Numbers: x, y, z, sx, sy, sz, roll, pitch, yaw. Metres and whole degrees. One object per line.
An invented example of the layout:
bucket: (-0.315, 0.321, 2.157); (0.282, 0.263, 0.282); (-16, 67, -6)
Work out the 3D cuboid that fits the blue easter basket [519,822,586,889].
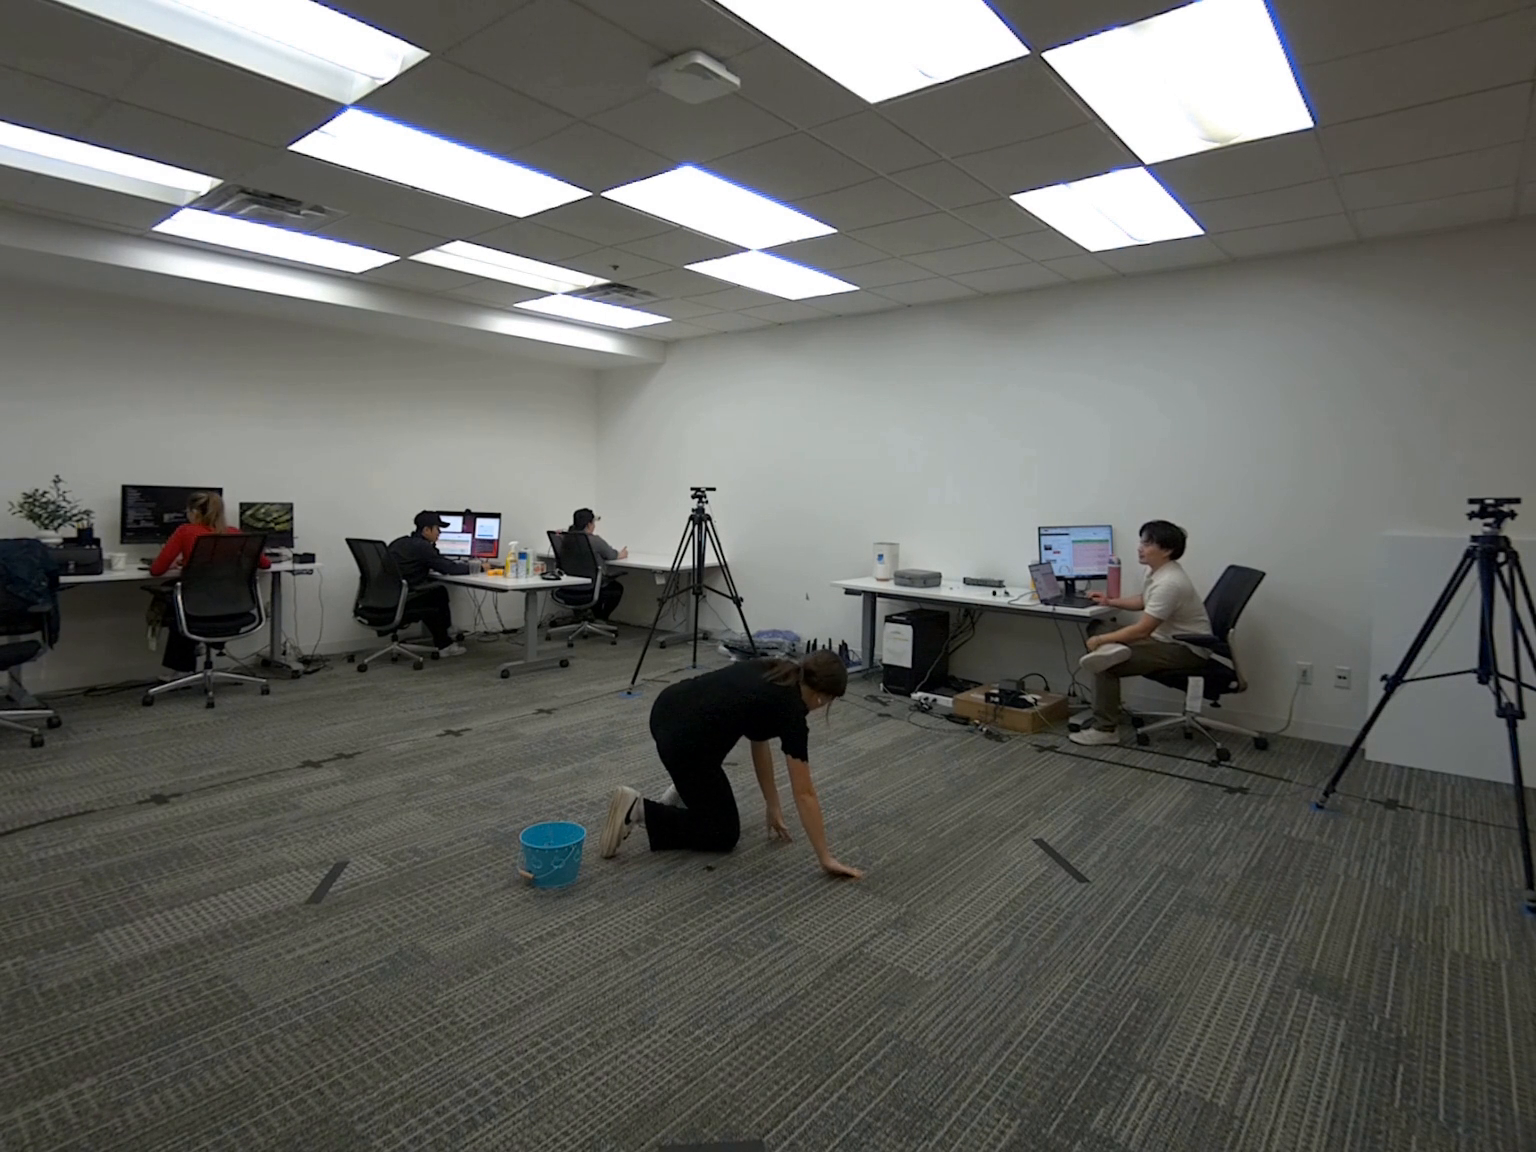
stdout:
blue easter basket: (-0.782, 0.986, 3.020); (0.243, 0.155, 0.245); (1, 5, -2)
